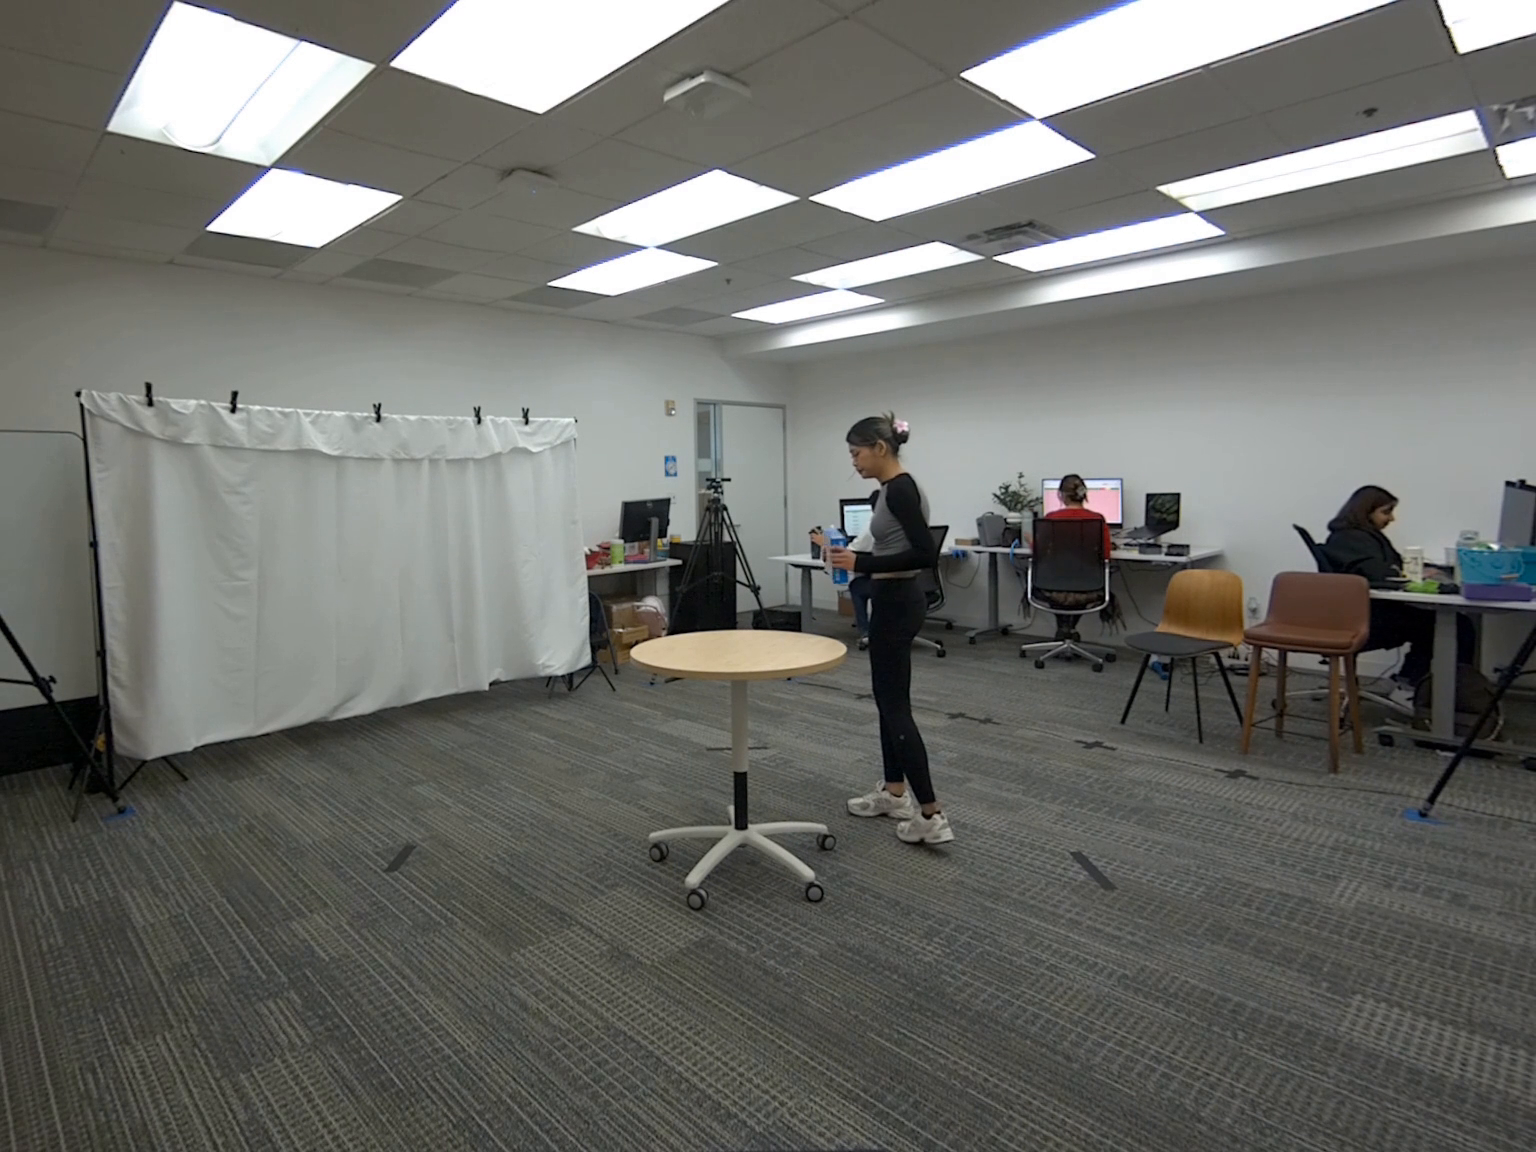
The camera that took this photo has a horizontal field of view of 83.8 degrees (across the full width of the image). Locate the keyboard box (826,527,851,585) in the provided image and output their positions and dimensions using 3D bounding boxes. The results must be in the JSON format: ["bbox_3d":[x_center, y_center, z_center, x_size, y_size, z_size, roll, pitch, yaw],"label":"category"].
[{"bbox_3d":[0.277,-0.089,3.435,0.059,0.175,0.438,-4,7,2],"label":"keyboard box"}]
